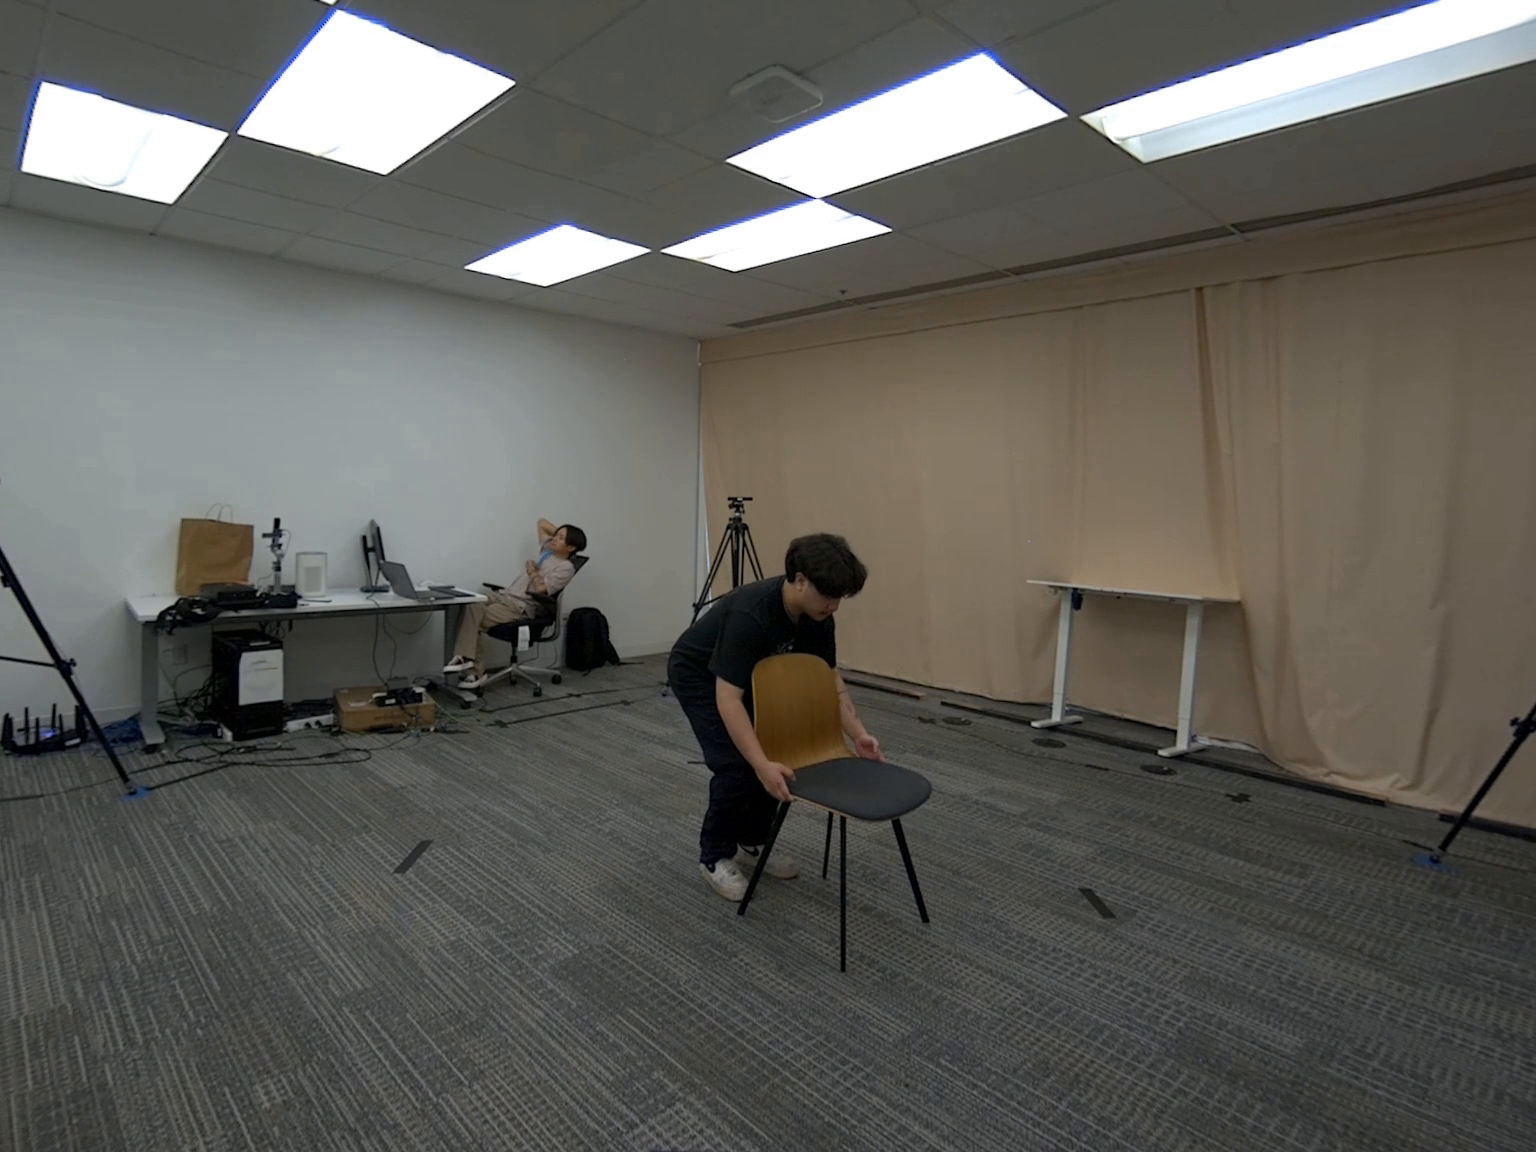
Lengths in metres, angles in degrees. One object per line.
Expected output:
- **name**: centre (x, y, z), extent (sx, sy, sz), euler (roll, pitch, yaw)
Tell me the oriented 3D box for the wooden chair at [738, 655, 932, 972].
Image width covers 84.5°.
- **wooden chair**: centre (0.230, 0.720, 2.764), extent (0.535, 0.877, 0.467), euler (-2, 0, 44)
